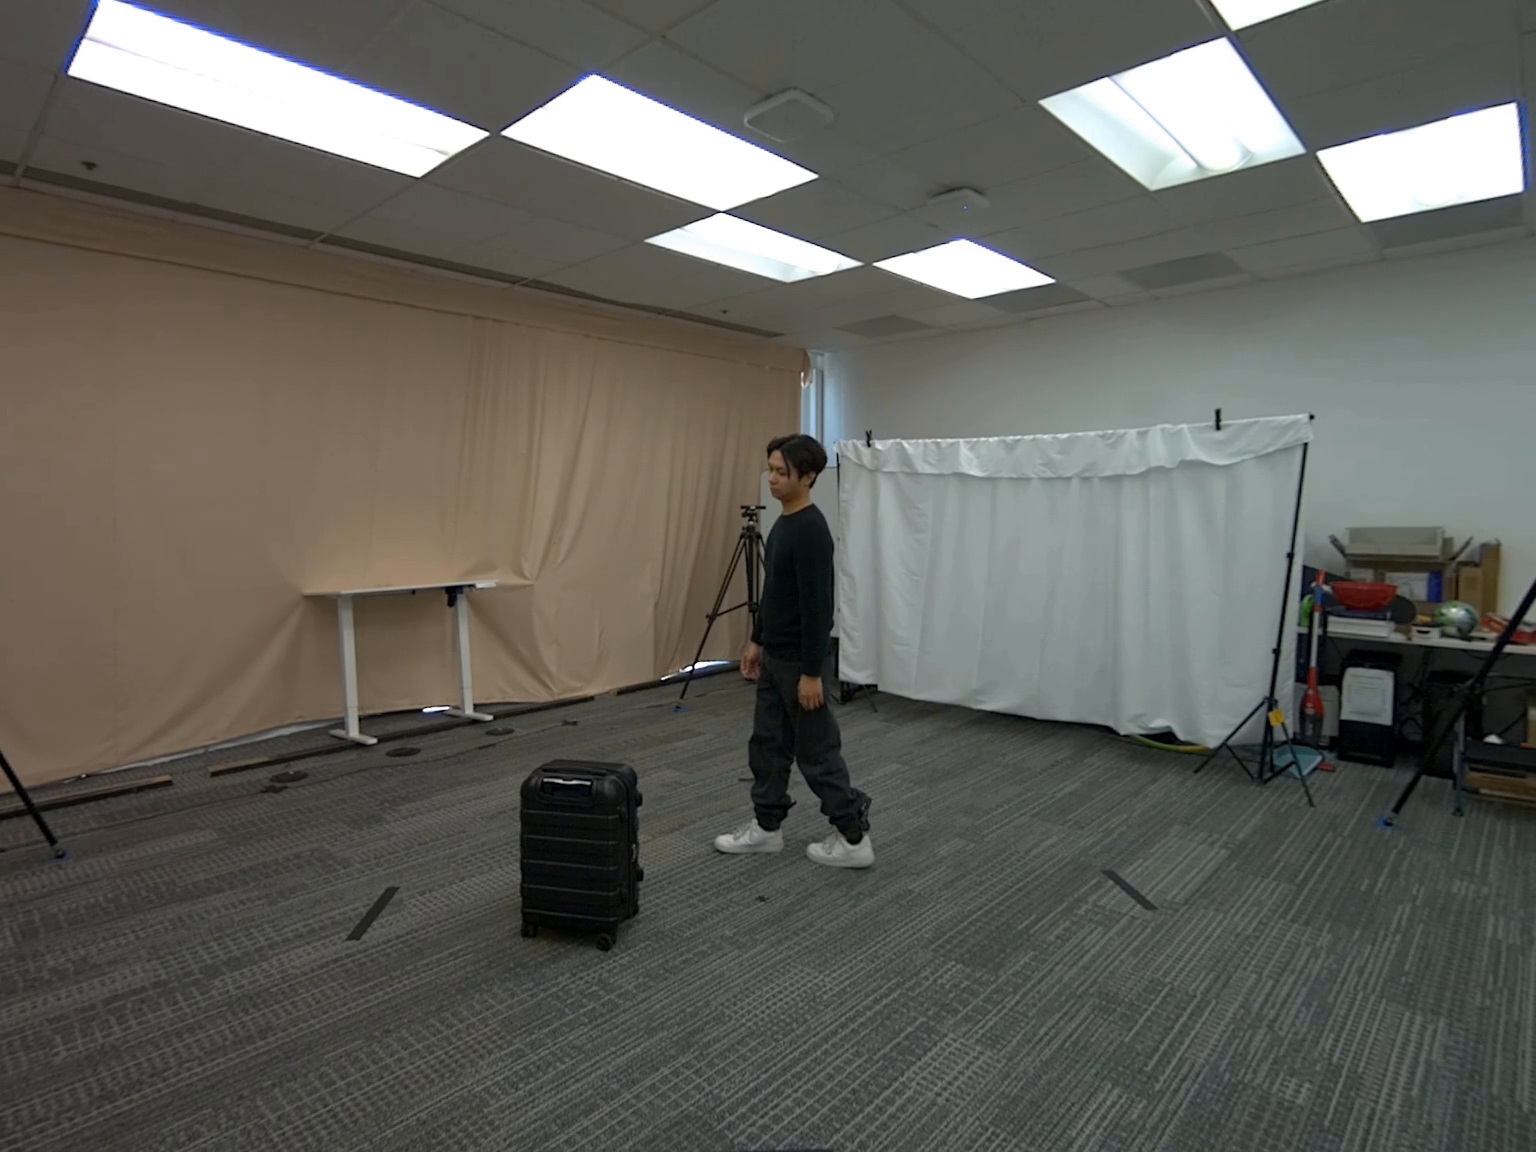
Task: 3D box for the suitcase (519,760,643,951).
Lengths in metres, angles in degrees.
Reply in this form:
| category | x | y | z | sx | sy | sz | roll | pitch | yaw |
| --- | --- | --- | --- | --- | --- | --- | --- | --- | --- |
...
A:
| category | x | y | z | sx | sy | sz | roll | pitch | yaw |
| --- | --- | --- | --- | --- | --- | --- | --- | --- | --- |
| suitcase | -0.624 | 0.891 | 2.764 | 0.381 | 0.548 | 0.245 | 0 | 2 | 12 |
